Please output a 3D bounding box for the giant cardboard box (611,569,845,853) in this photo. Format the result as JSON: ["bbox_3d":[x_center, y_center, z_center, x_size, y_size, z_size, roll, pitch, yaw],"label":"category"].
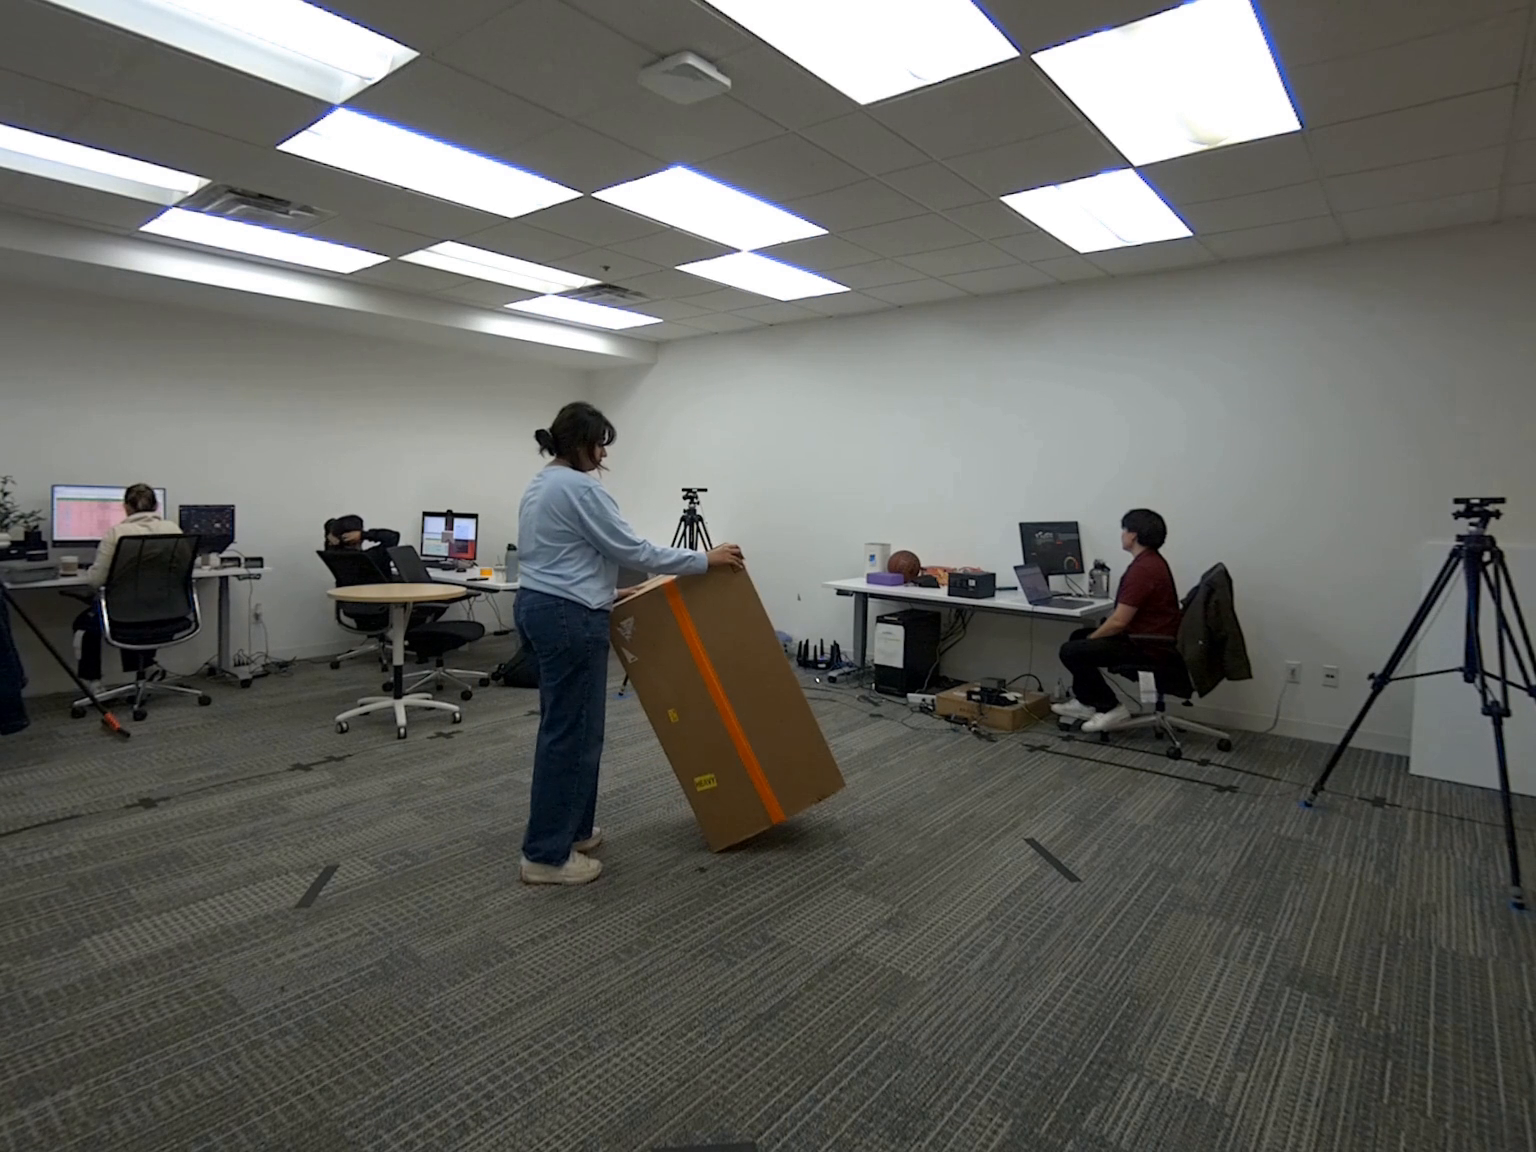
[{"bbox_3d":[-0.193,0.461,3.423,0.583,1.023,0.449,-25,3,-2],"label":"giant cardboard box"}]
